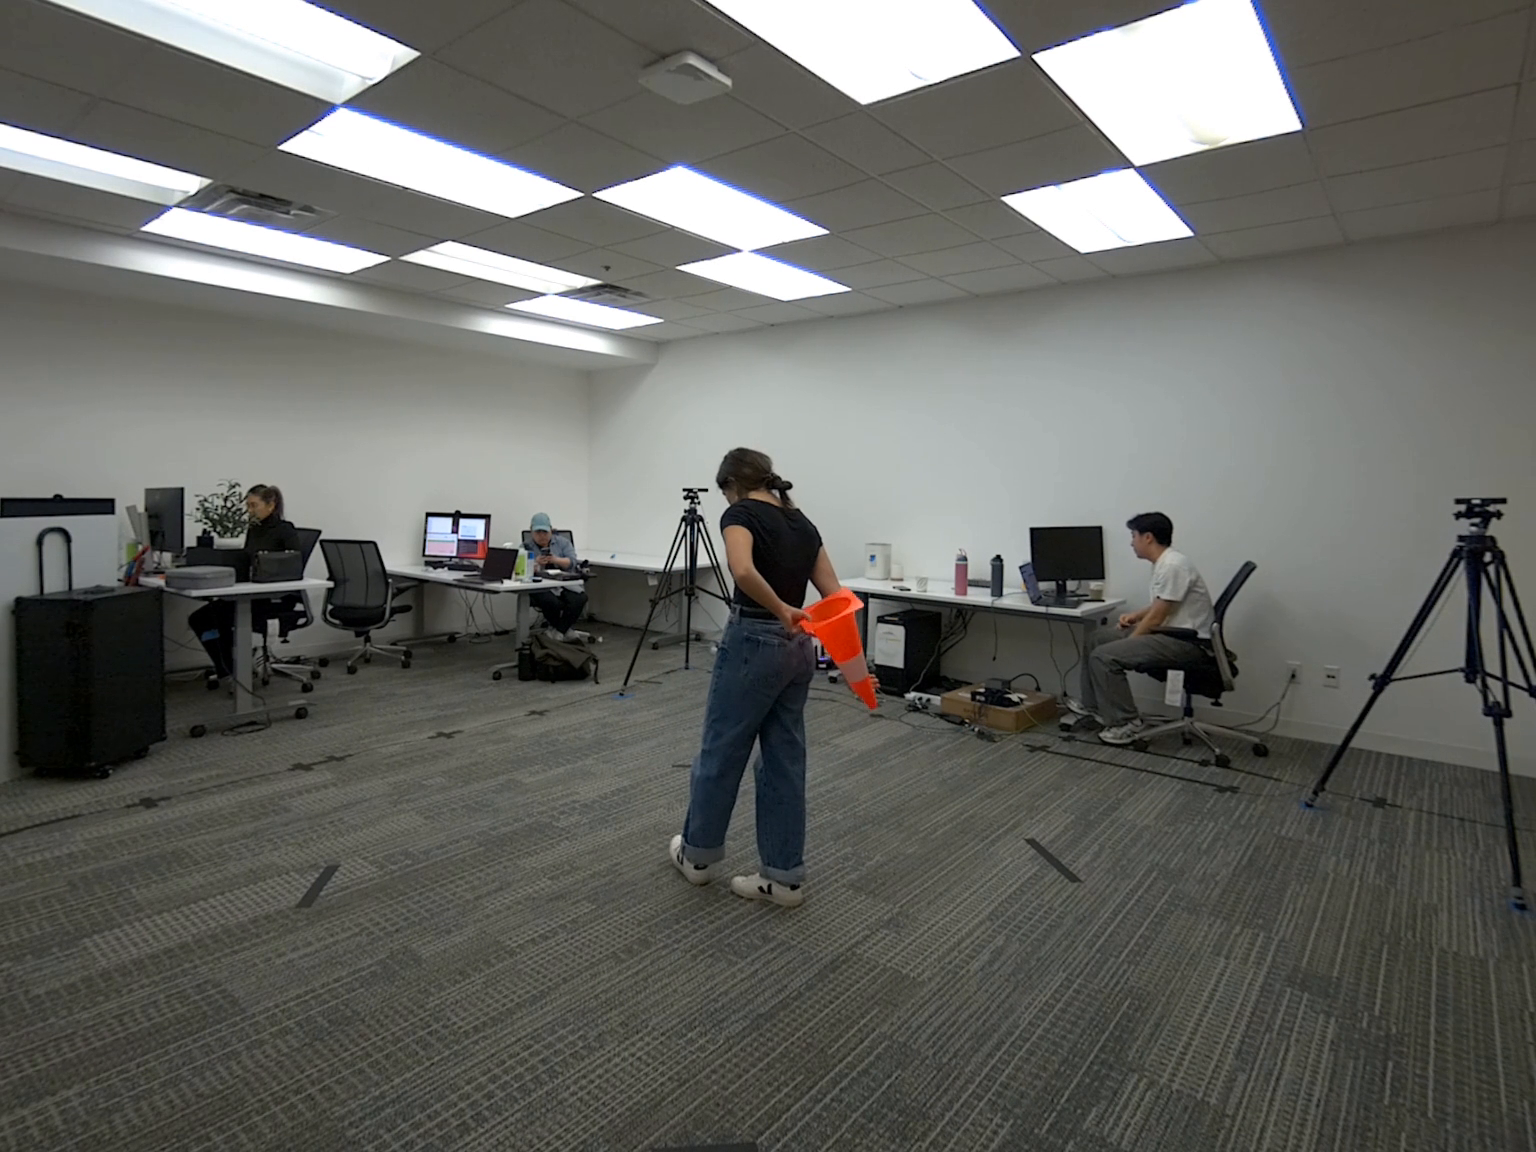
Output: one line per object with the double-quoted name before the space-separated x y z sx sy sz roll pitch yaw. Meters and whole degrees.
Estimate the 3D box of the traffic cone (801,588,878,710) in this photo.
"traffic cone" 0.252 0.279 2.761 0.203 0.376 0.209 -26 16 -2
